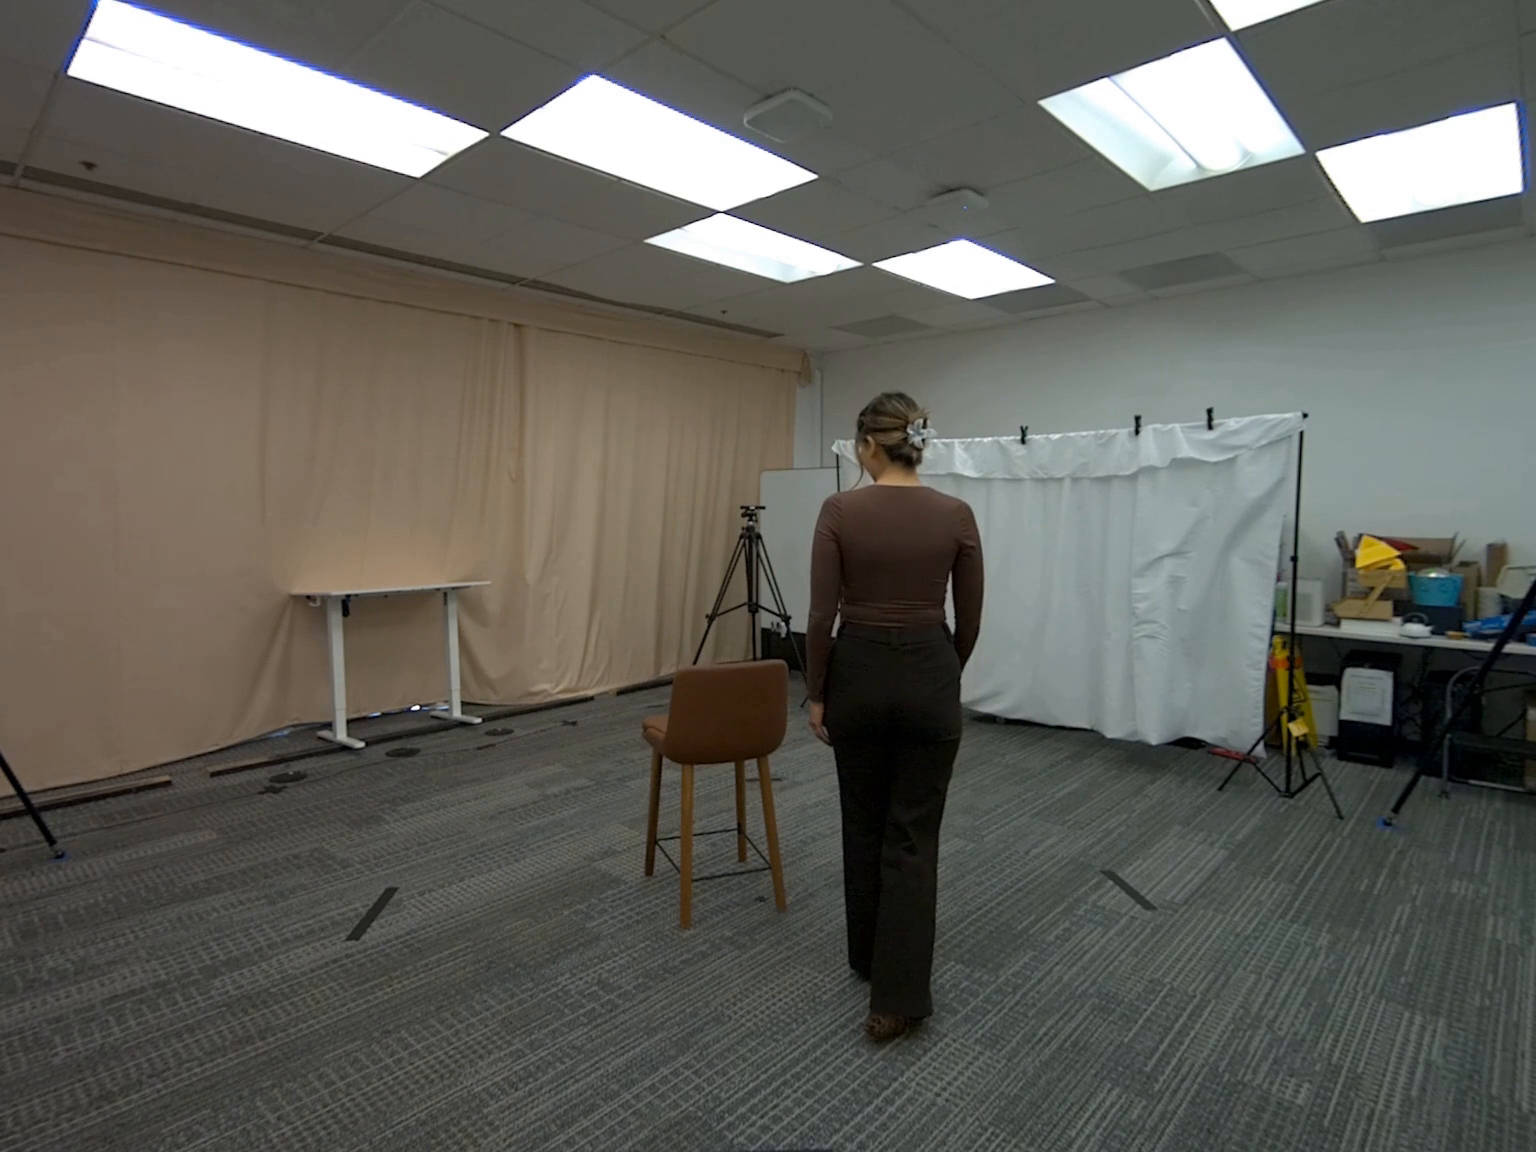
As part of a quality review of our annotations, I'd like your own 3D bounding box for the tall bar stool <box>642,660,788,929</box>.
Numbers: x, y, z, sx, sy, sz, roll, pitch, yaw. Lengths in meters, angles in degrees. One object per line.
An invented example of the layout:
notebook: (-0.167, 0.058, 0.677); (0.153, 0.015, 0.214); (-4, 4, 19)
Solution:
tall bar stool: (-0.194, 0.707, 3.015); (0.447, 0.887, 0.479); (-1, 5, -22)
